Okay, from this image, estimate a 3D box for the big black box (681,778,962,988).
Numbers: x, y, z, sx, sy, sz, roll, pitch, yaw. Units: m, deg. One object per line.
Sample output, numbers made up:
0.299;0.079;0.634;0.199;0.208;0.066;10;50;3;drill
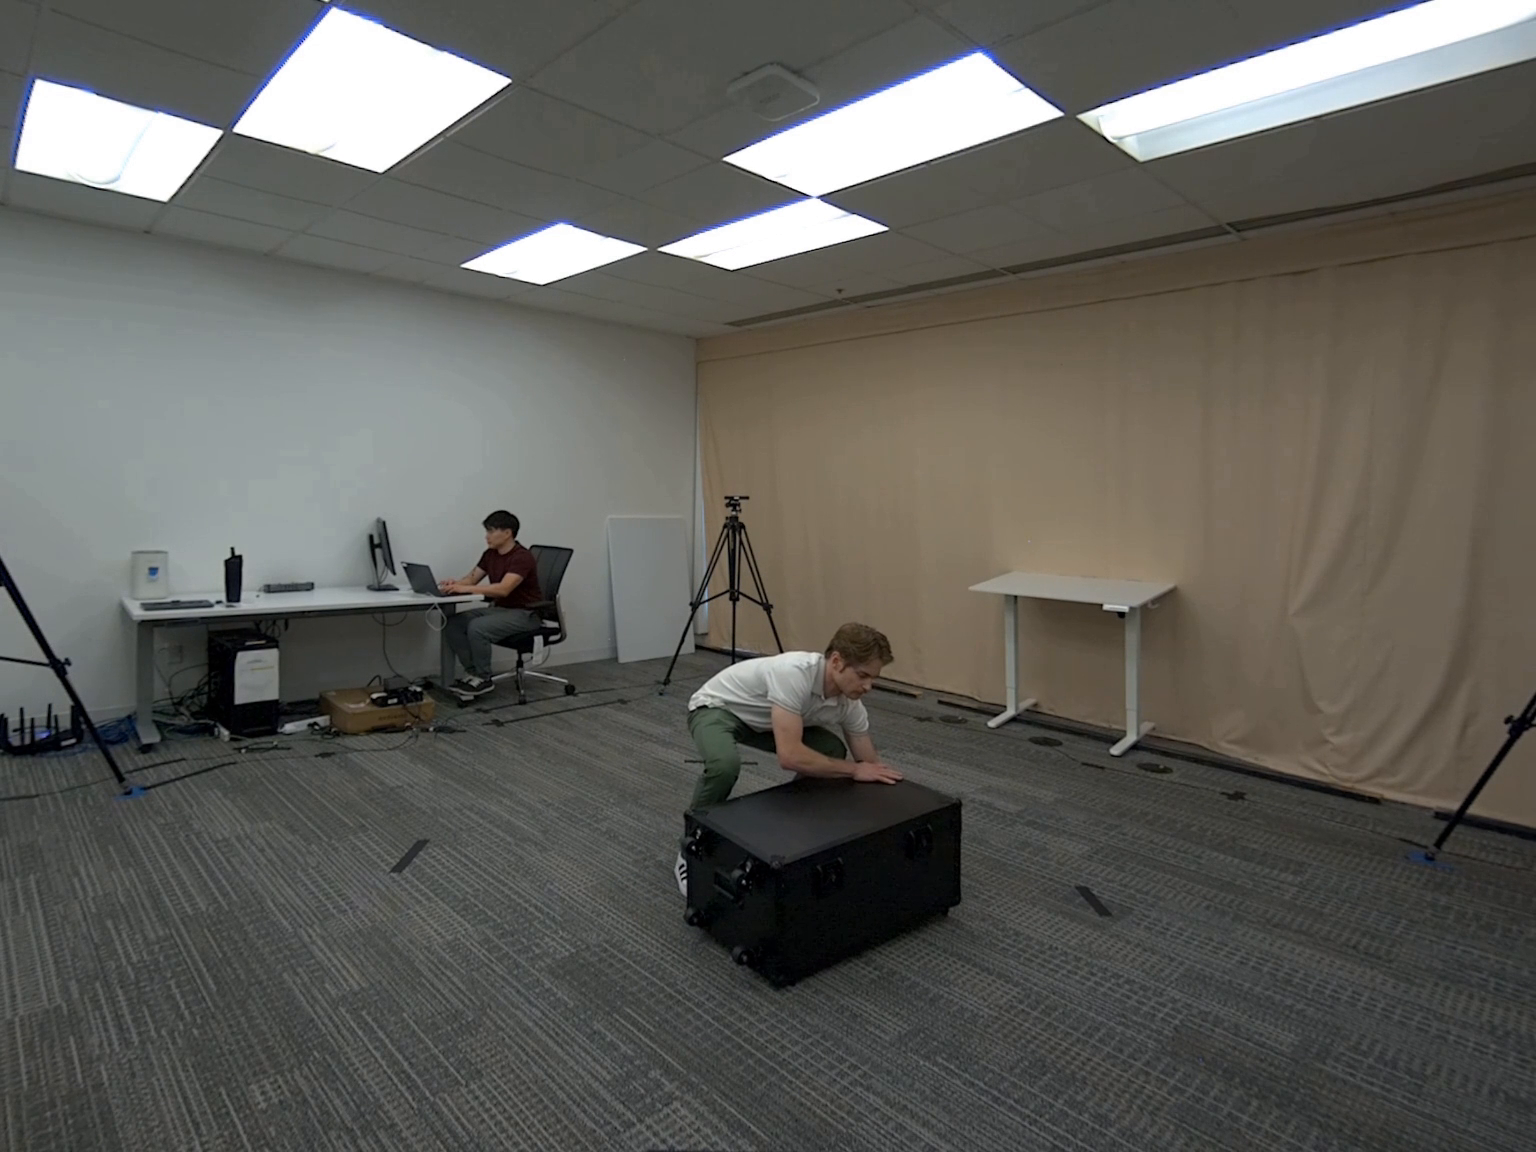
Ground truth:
0.153;0.937;2.742;0.851;0.383;0.536;-5;8;-35;big black box
